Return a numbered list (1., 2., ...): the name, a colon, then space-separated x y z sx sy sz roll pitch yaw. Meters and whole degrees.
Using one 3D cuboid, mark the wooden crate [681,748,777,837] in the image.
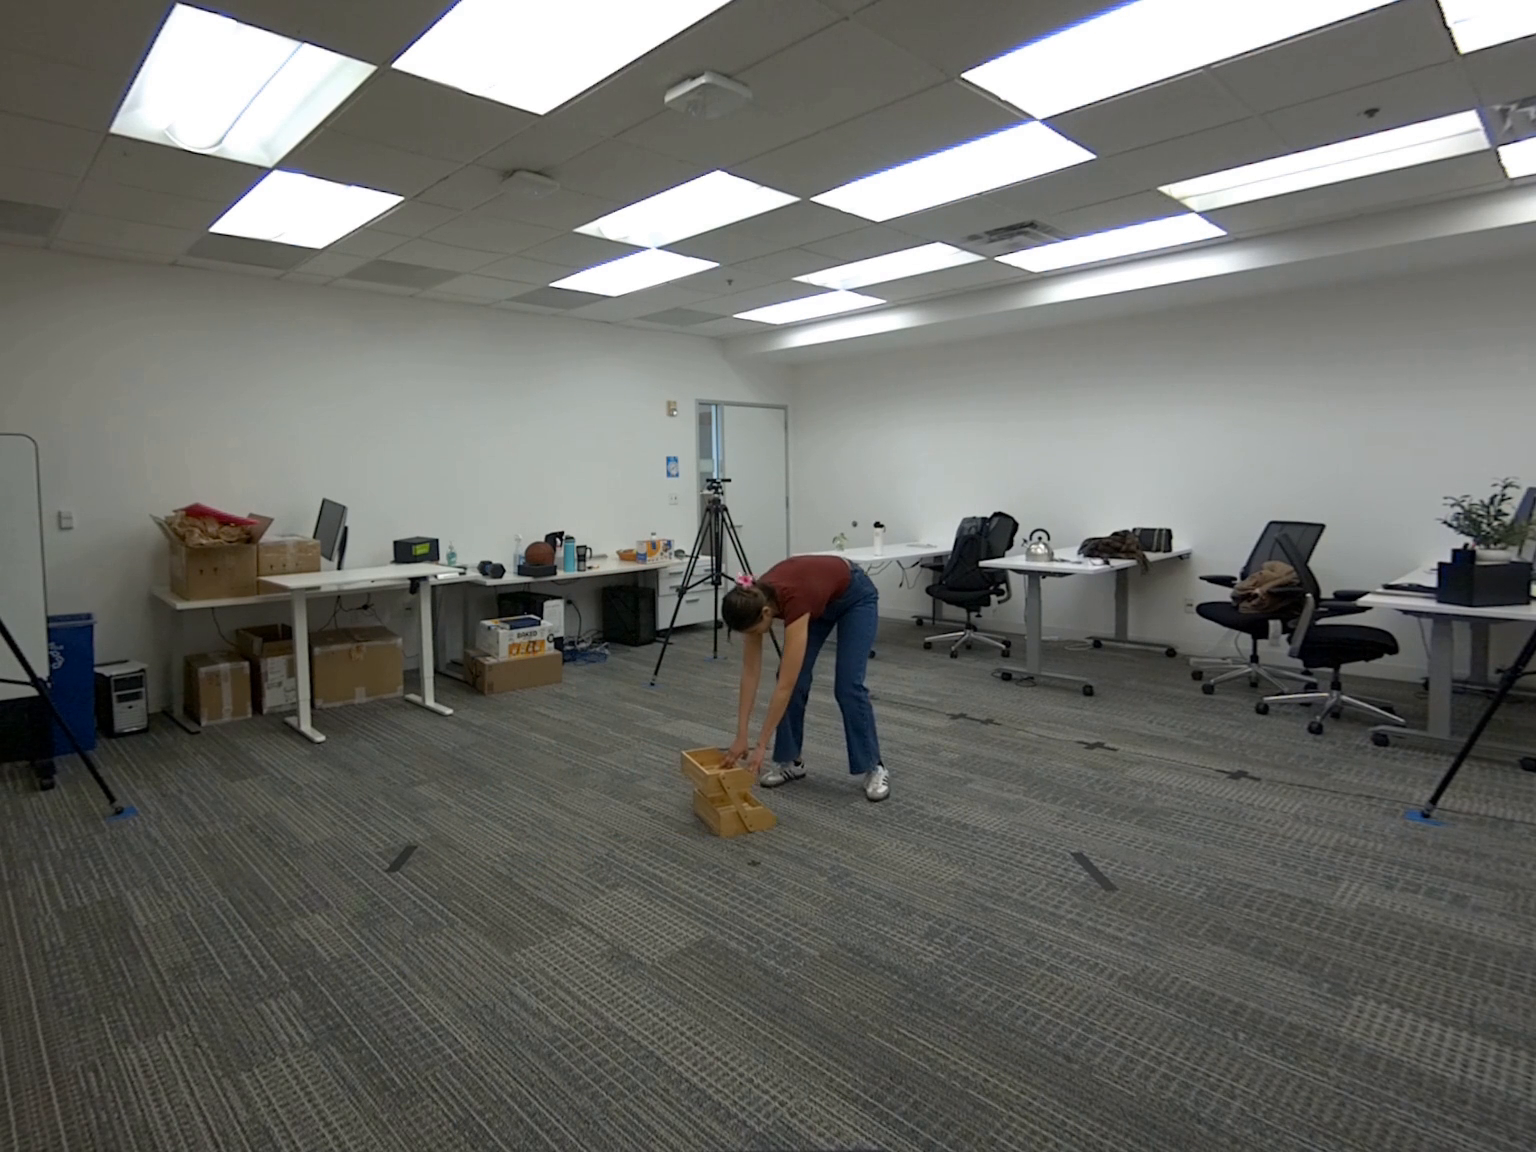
1. wooden crate: -0.149 0.866 3.497 0.296 0.272 0.332 -3 6 -25
